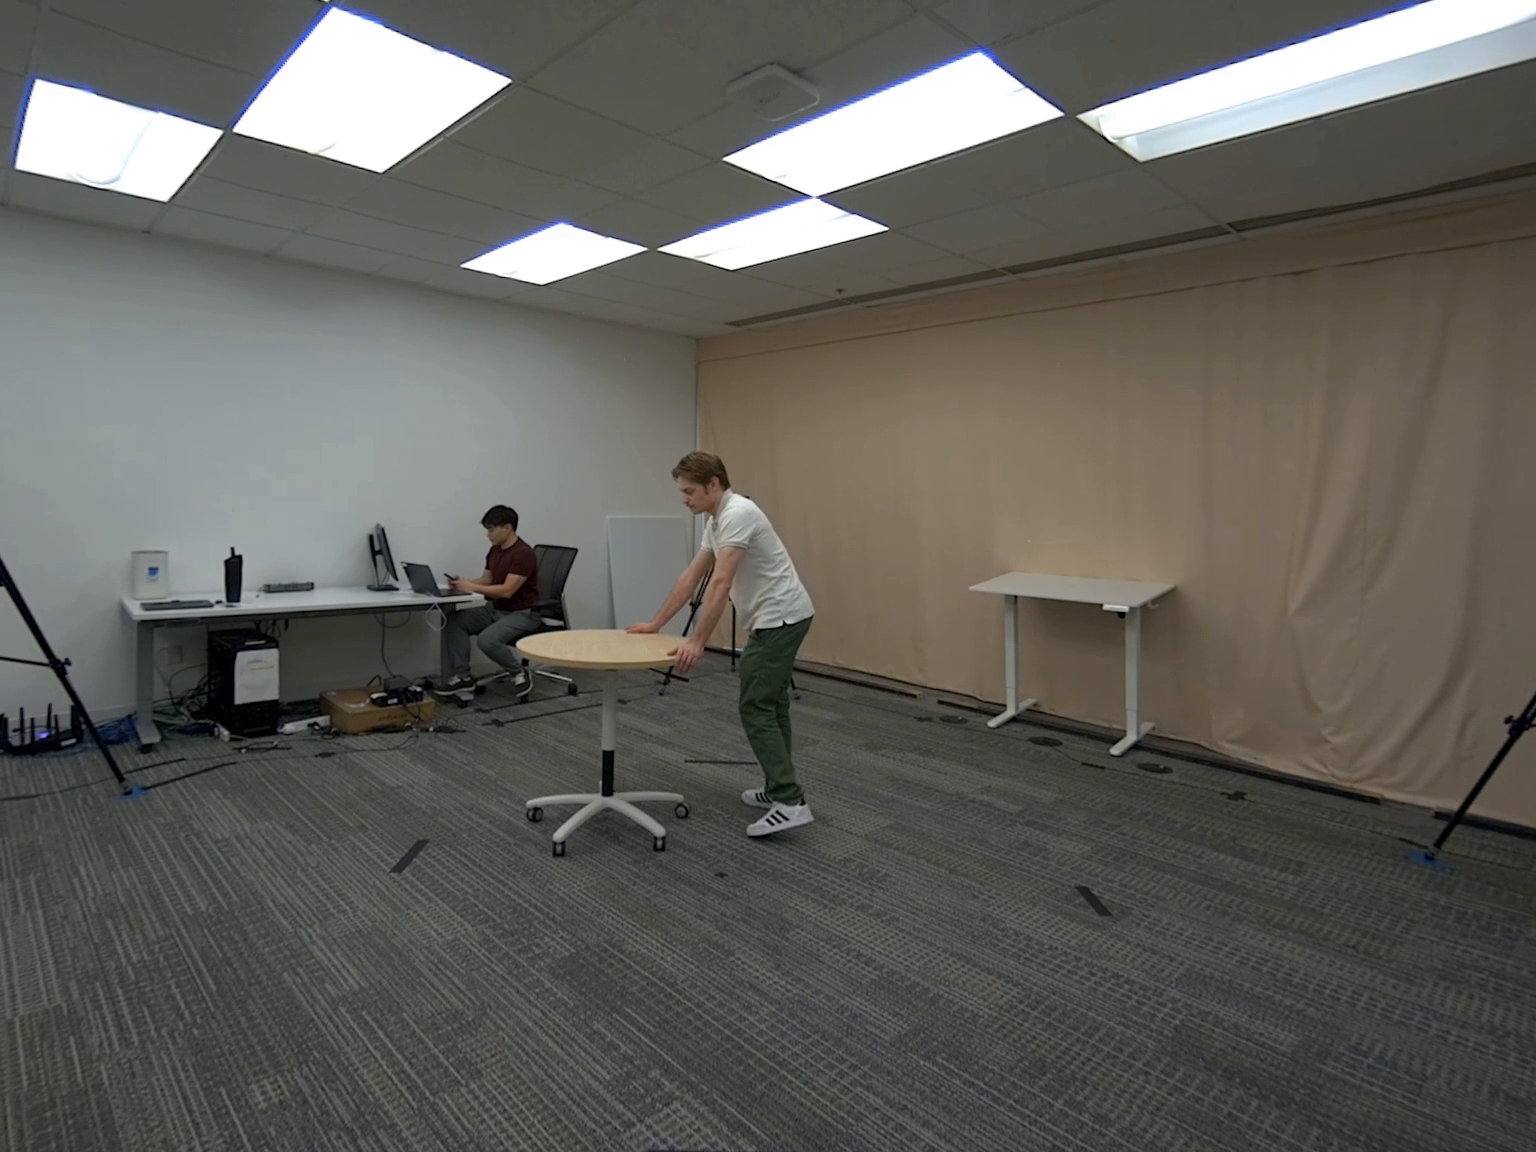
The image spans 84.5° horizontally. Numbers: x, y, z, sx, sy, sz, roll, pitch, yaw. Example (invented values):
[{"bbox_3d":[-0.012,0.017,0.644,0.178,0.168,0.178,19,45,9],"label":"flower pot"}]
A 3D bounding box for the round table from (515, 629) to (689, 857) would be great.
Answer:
[{"bbox_3d":[-0.670,0.672,3.497,0.763,0.792,0.766,2,4,-2],"label":"round table"}]
